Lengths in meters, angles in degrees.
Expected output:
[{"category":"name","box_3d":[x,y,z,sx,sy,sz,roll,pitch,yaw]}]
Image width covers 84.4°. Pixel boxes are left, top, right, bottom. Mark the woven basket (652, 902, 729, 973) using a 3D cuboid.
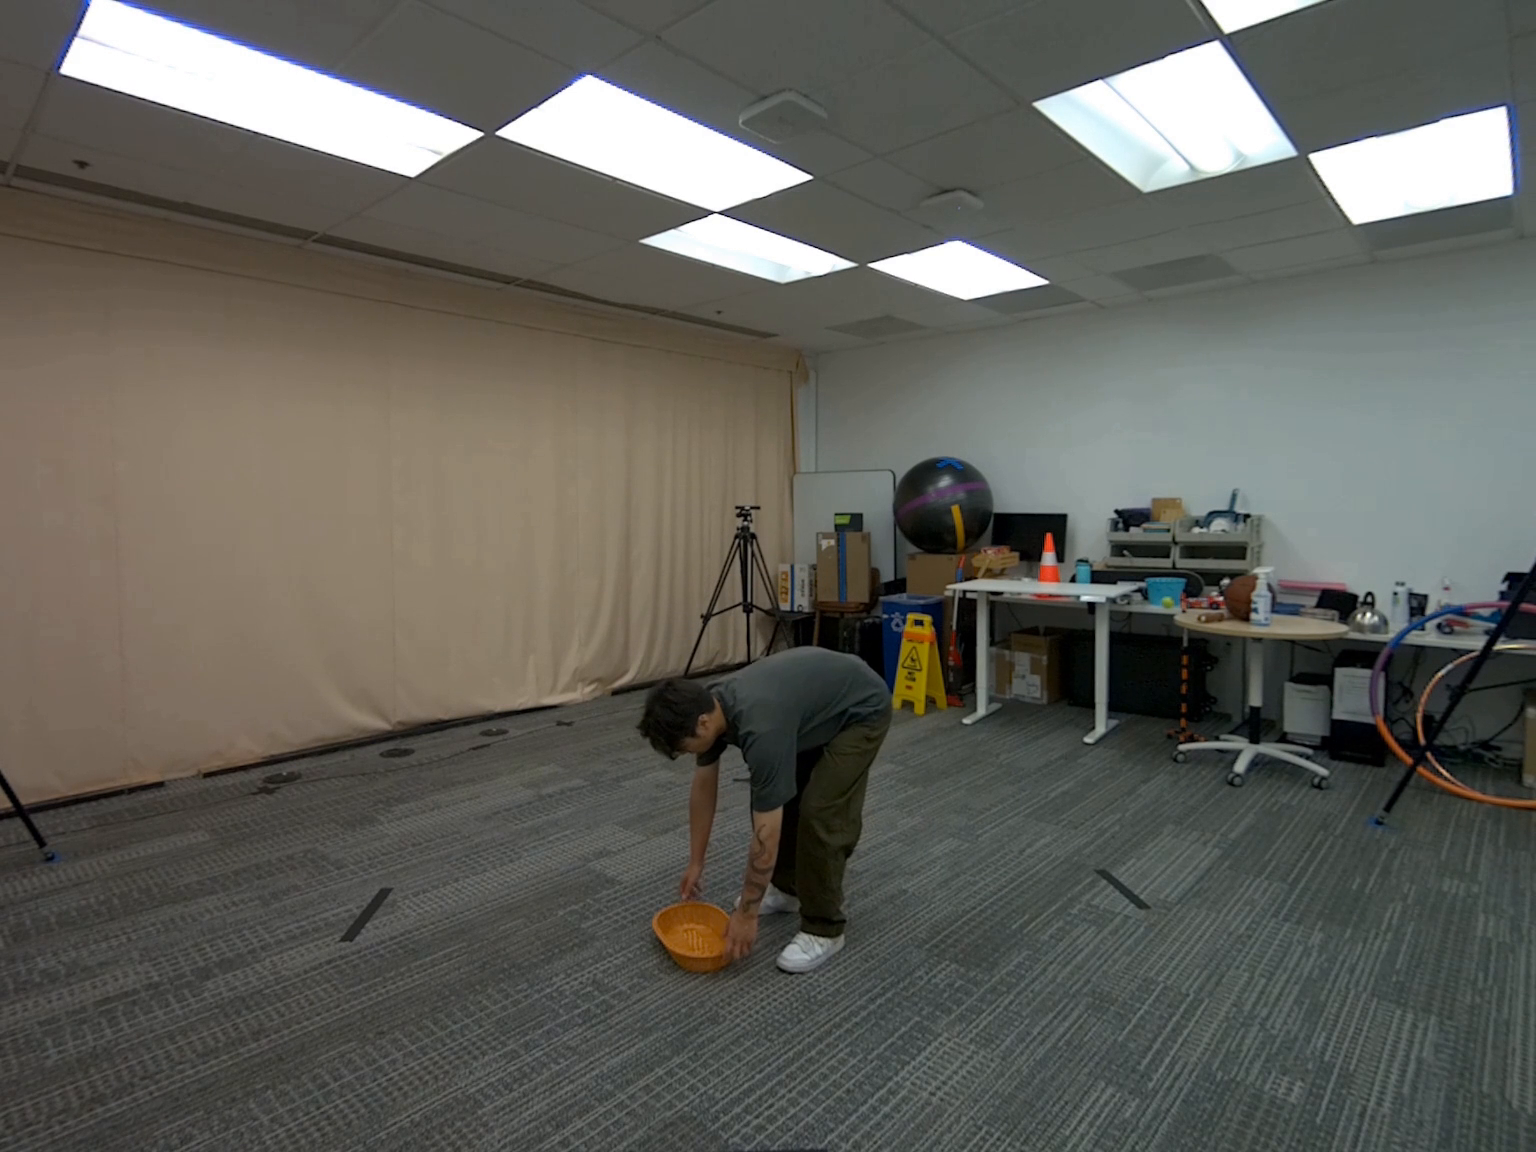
[{"category":"woven basket","box_3d":[-0.226,1.133,2.648,0.247,0.073,0.359,-3,6,-24]}]
